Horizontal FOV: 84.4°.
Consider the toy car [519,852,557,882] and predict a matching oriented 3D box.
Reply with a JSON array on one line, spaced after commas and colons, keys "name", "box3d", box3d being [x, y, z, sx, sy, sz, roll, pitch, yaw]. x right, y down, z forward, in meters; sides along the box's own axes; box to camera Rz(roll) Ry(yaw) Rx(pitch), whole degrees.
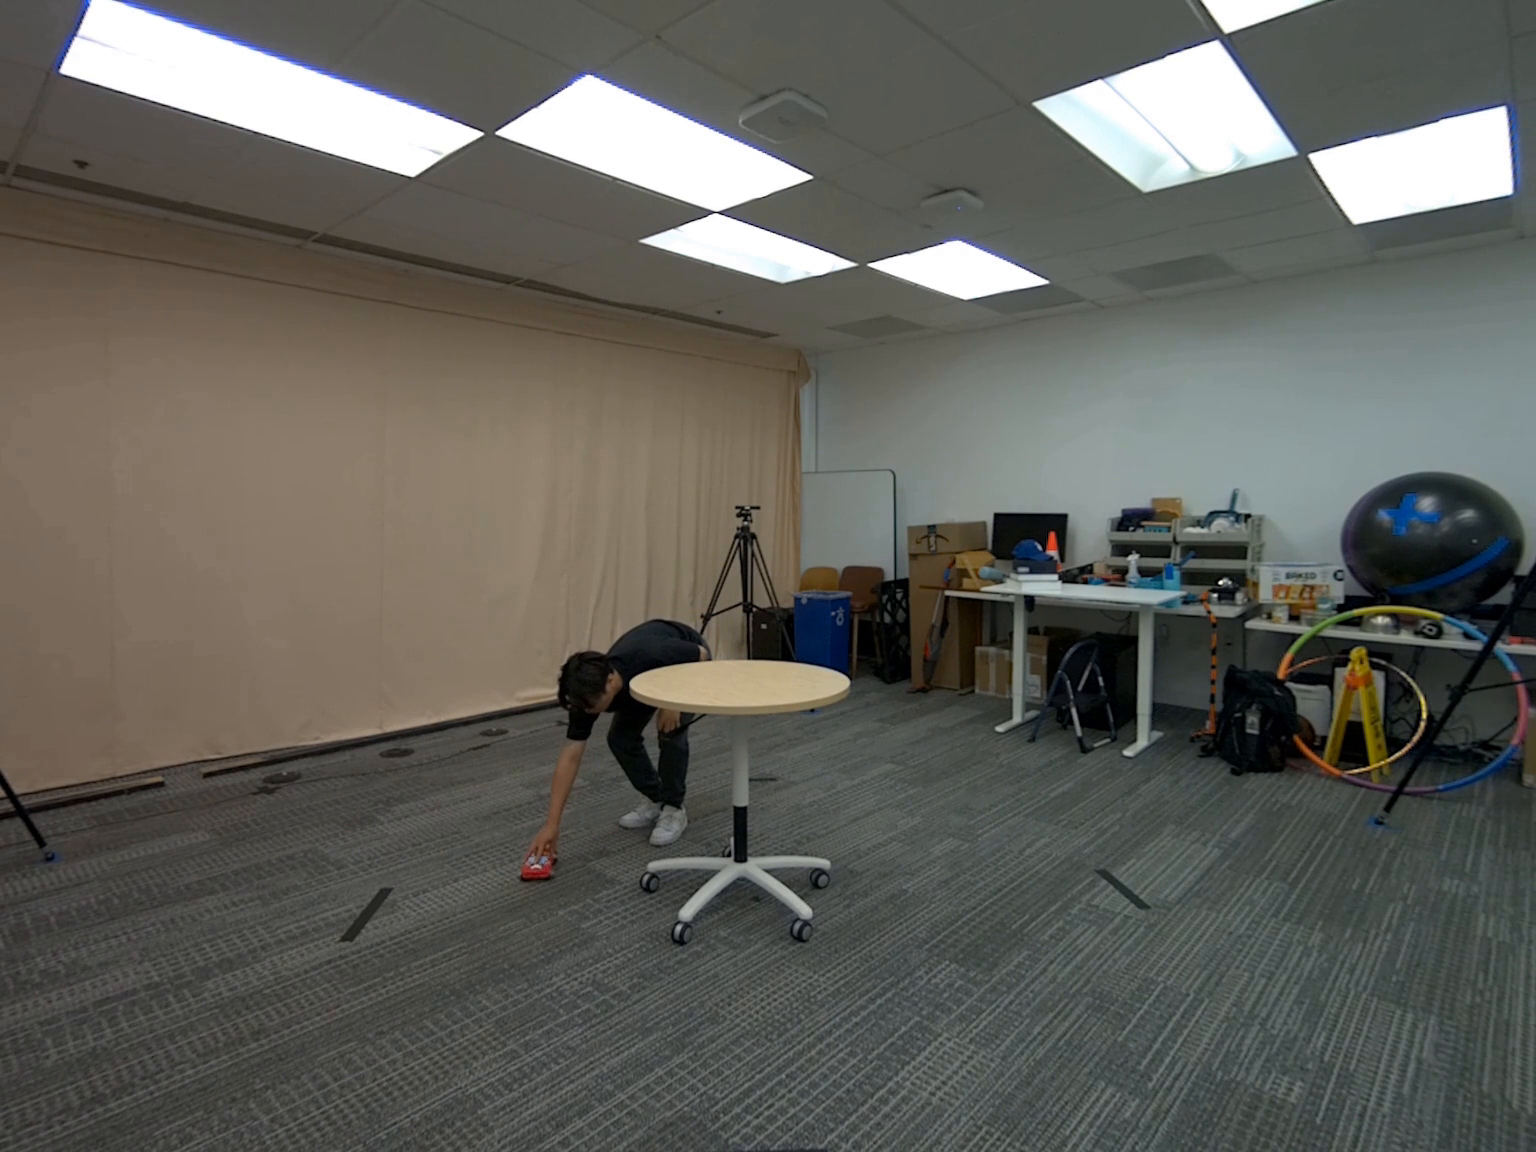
[{"name": "toy car", "box3d": [-0.880, 1.099, 3.255, 0.129, 0.082, 0.259, -1, 15, -8]}]
